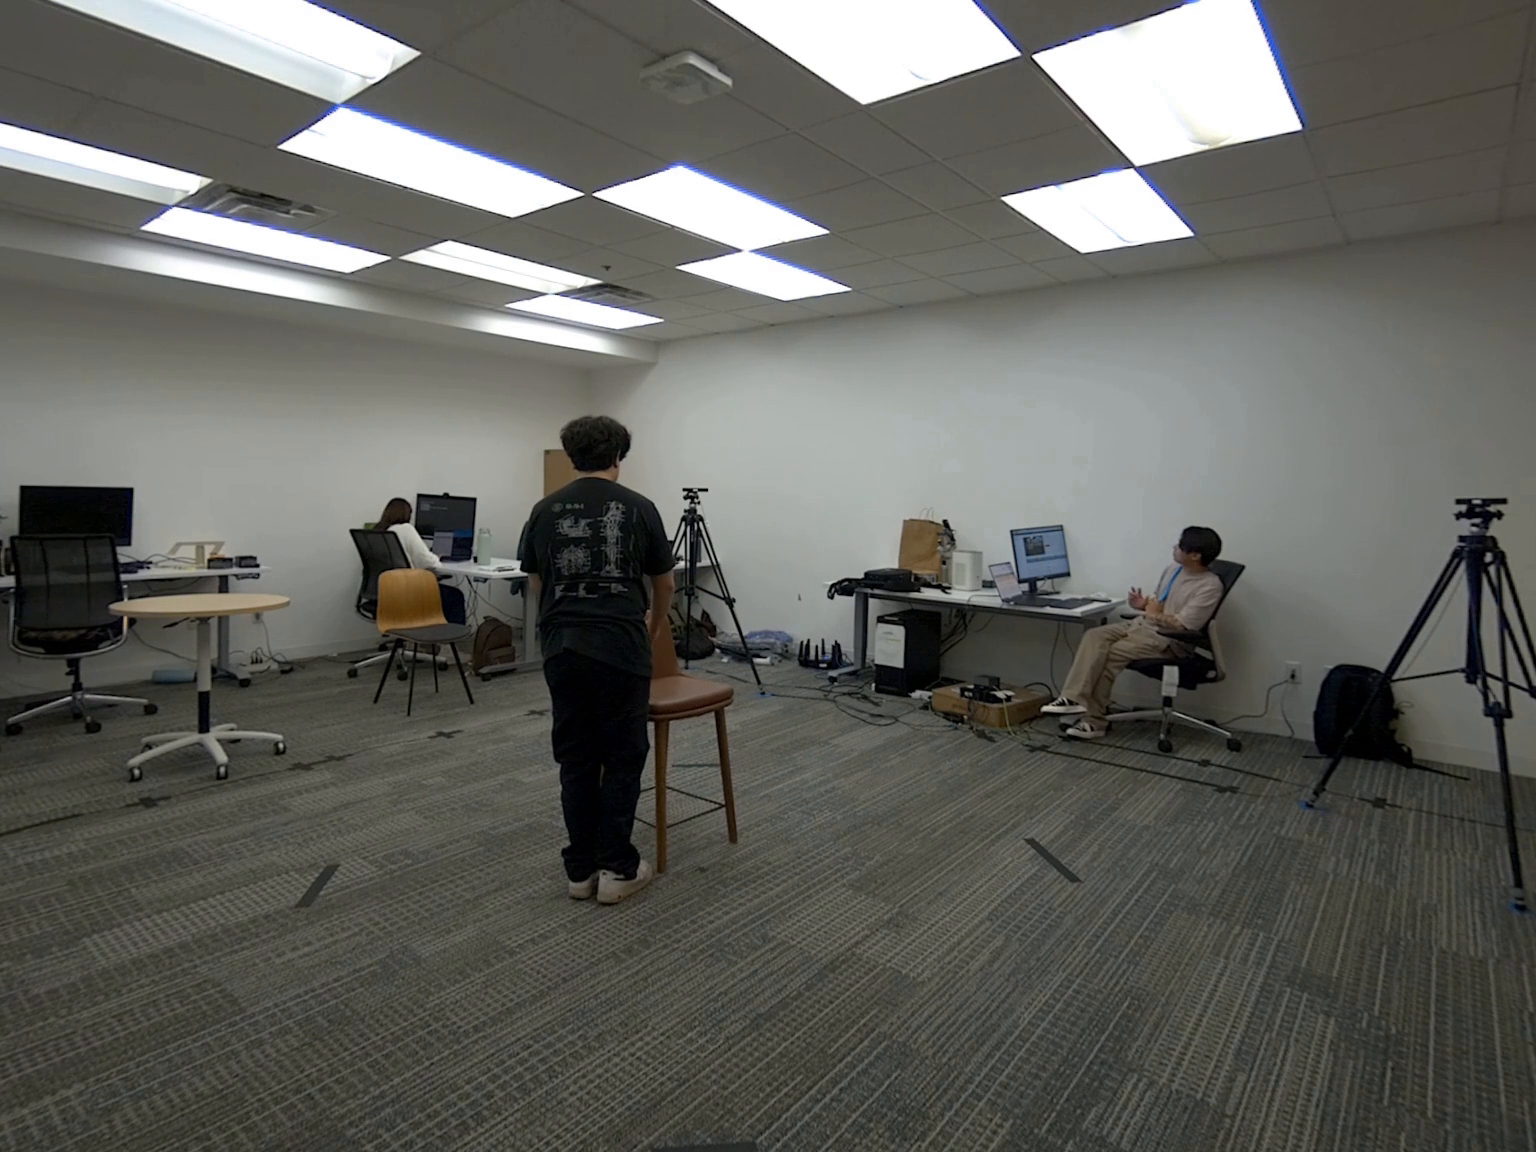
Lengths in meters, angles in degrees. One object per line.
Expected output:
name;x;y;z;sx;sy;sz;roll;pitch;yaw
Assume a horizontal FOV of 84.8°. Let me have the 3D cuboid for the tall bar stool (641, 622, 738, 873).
tall bar stool;-0.424;0.604;3.355;0.483;0.889;0.442;0;1;43
